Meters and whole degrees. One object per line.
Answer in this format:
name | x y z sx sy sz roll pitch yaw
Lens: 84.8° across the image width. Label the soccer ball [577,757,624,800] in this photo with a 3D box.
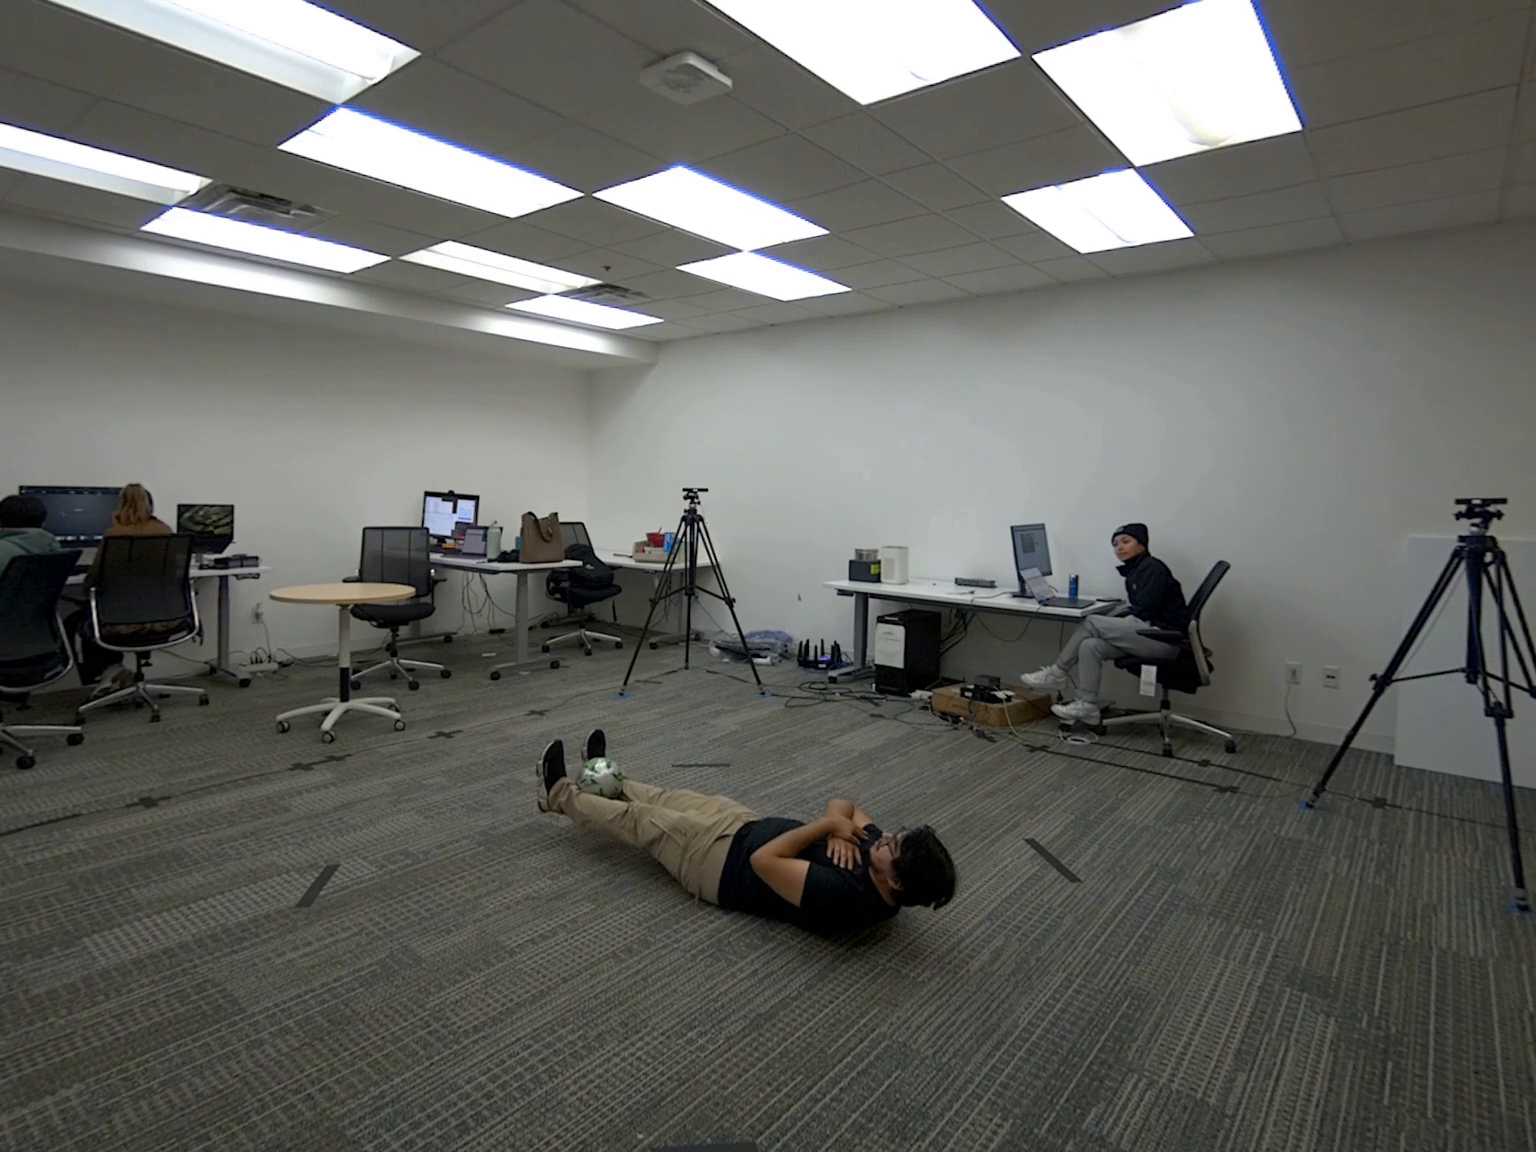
soccer ball | -0.687 0.817 3.381 0.187 0.187 0.188 0 4 -2
